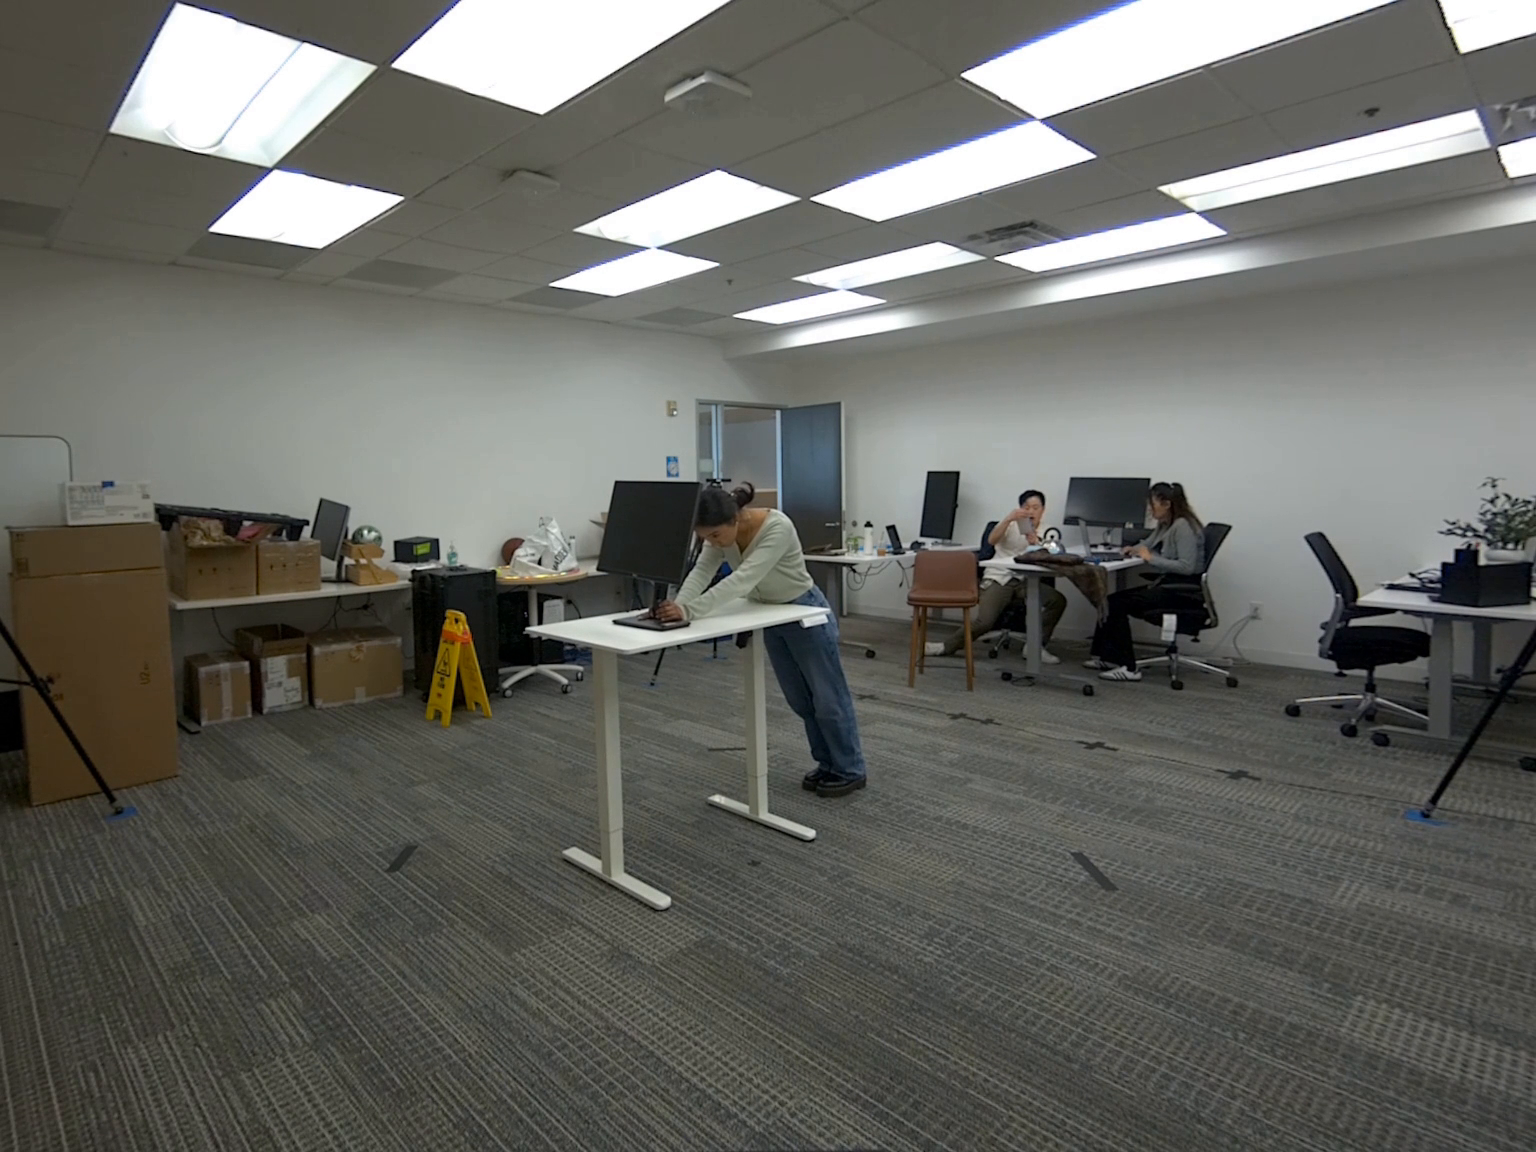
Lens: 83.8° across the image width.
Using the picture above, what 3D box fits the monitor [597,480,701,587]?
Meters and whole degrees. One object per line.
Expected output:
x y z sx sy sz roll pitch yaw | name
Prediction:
-0.413 -0.079 3.060 0.182 0.521 0.556 -2 5 -43 | monitor
